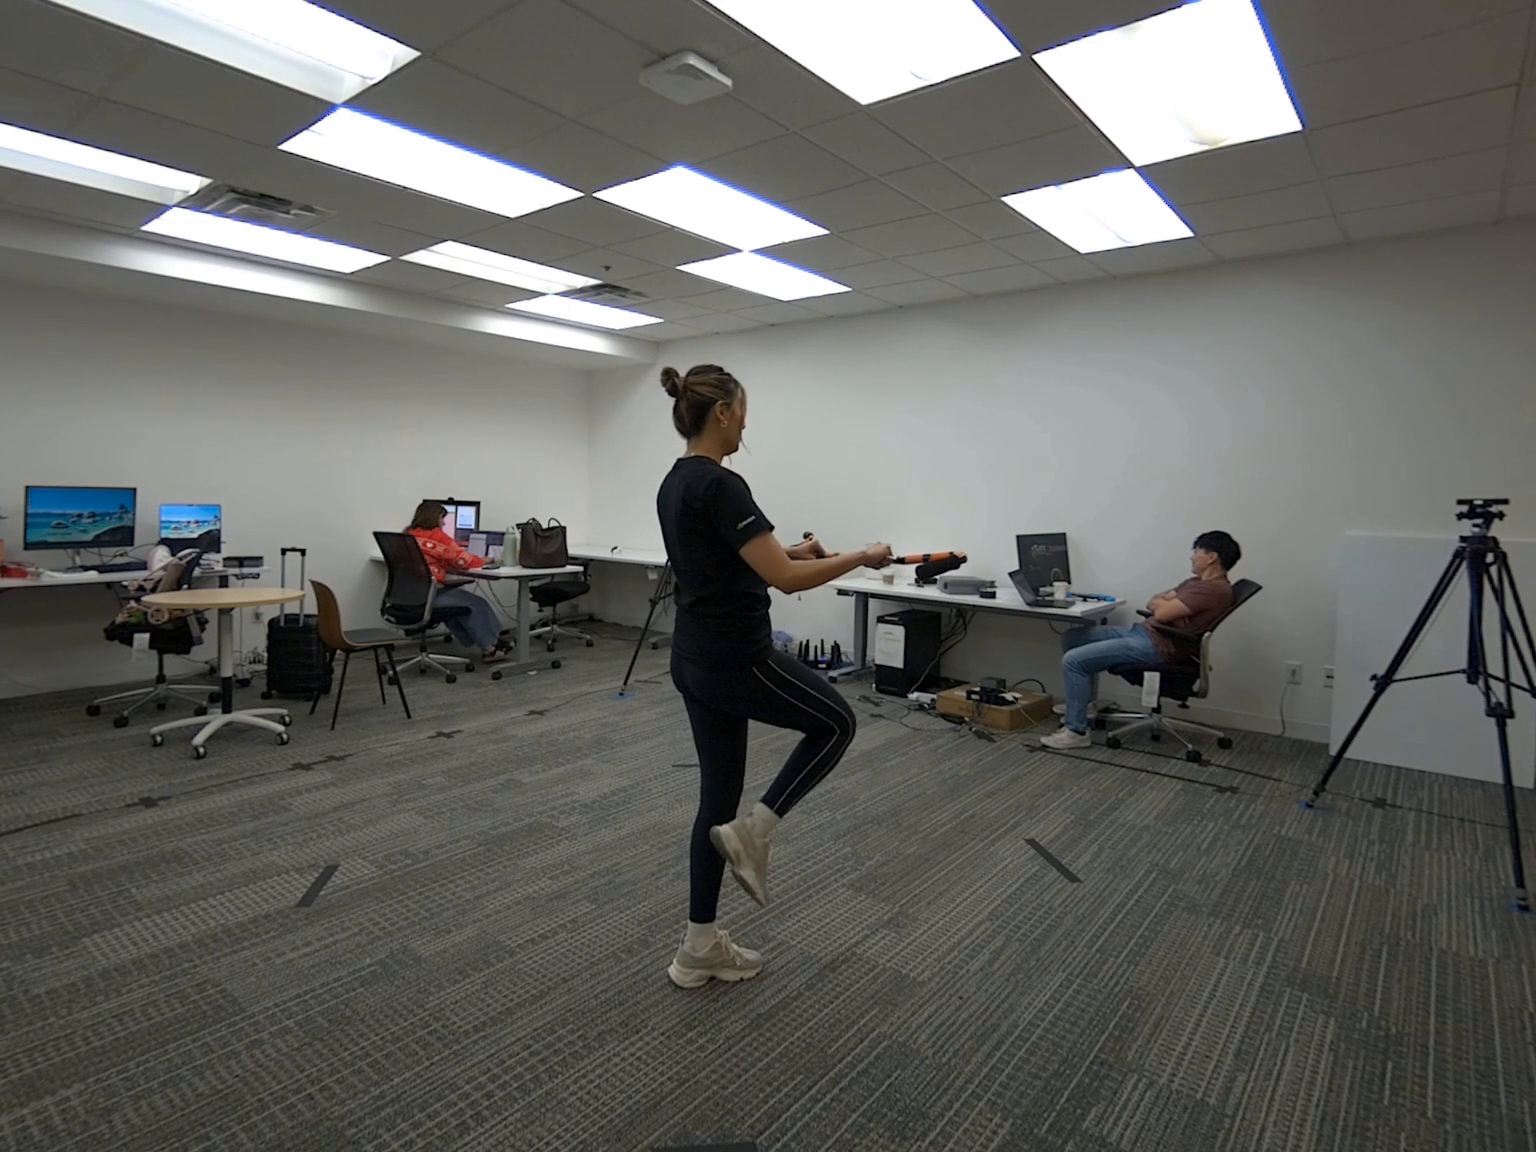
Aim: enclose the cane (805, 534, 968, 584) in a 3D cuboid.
[{"bbox_3d":[0.257,-0.035,2.408,0.203,0.150,0.927,-14,8,-19],"label":"cane"}]
